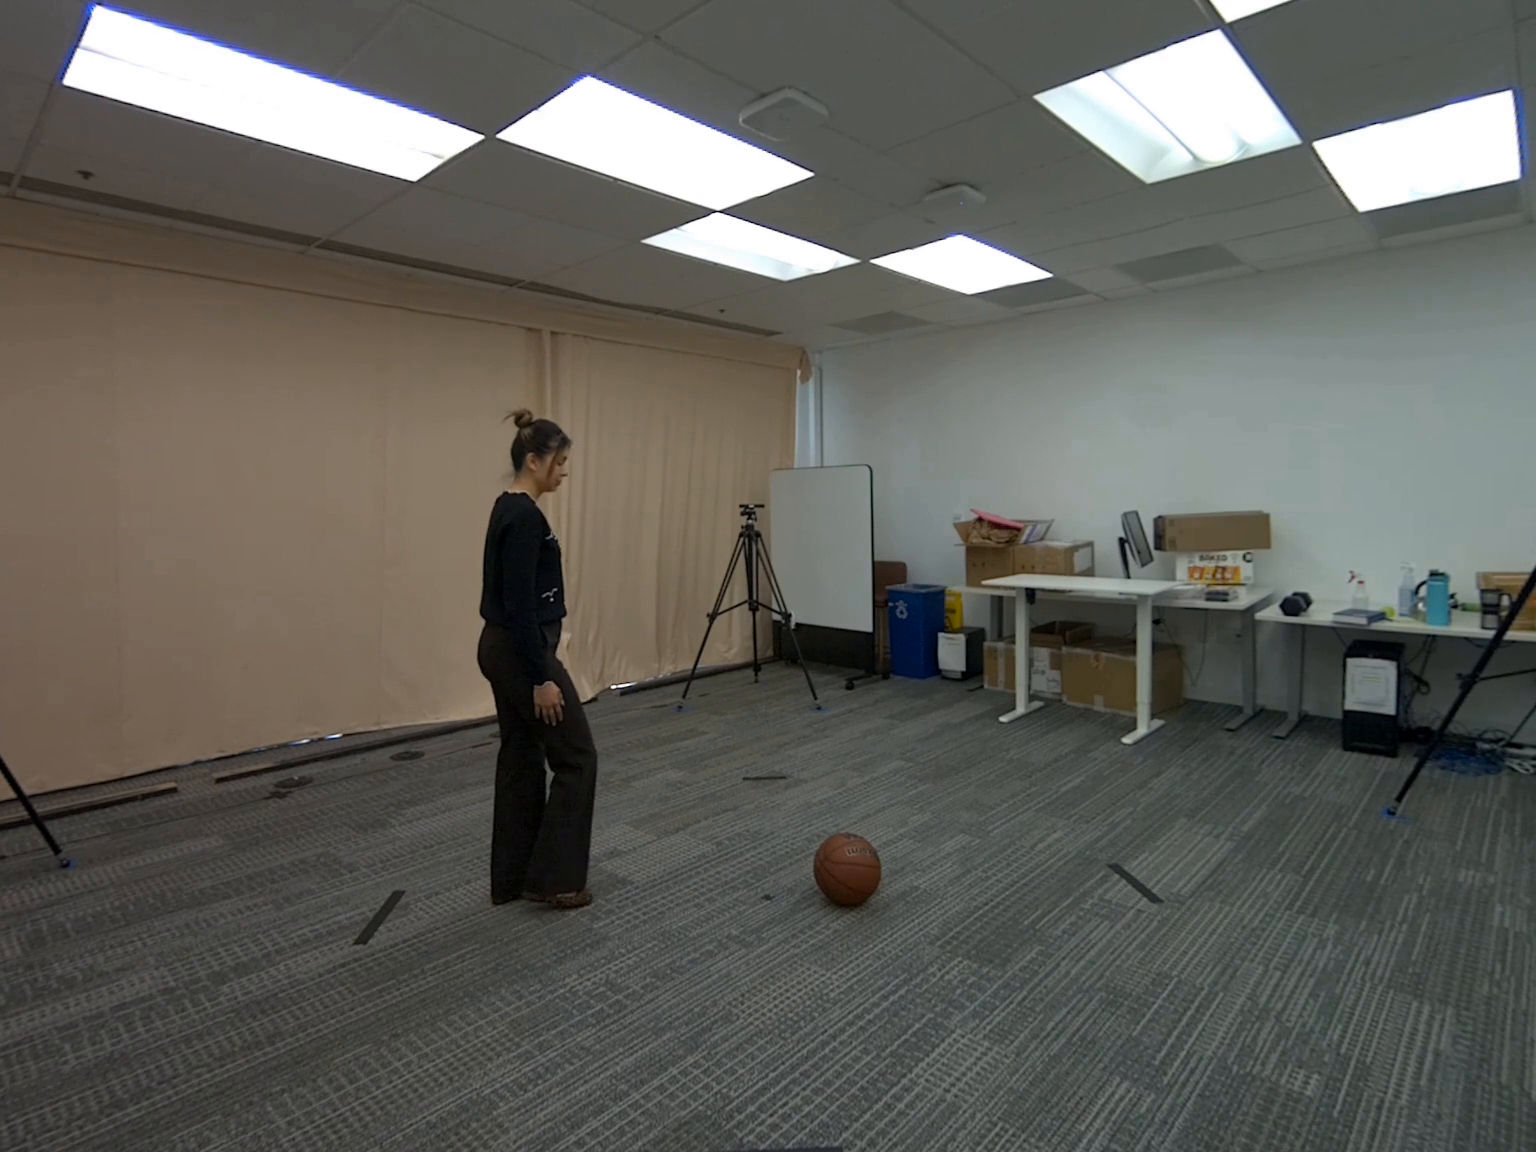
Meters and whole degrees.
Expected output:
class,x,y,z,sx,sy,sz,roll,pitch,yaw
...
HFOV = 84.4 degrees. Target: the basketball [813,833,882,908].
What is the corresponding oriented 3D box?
class,x,y,z,sx,sy,sz,roll,pitch,yaw
basketball,0.280,1.023,2.931,0.236,0.235,0.237,-1,4,-2
